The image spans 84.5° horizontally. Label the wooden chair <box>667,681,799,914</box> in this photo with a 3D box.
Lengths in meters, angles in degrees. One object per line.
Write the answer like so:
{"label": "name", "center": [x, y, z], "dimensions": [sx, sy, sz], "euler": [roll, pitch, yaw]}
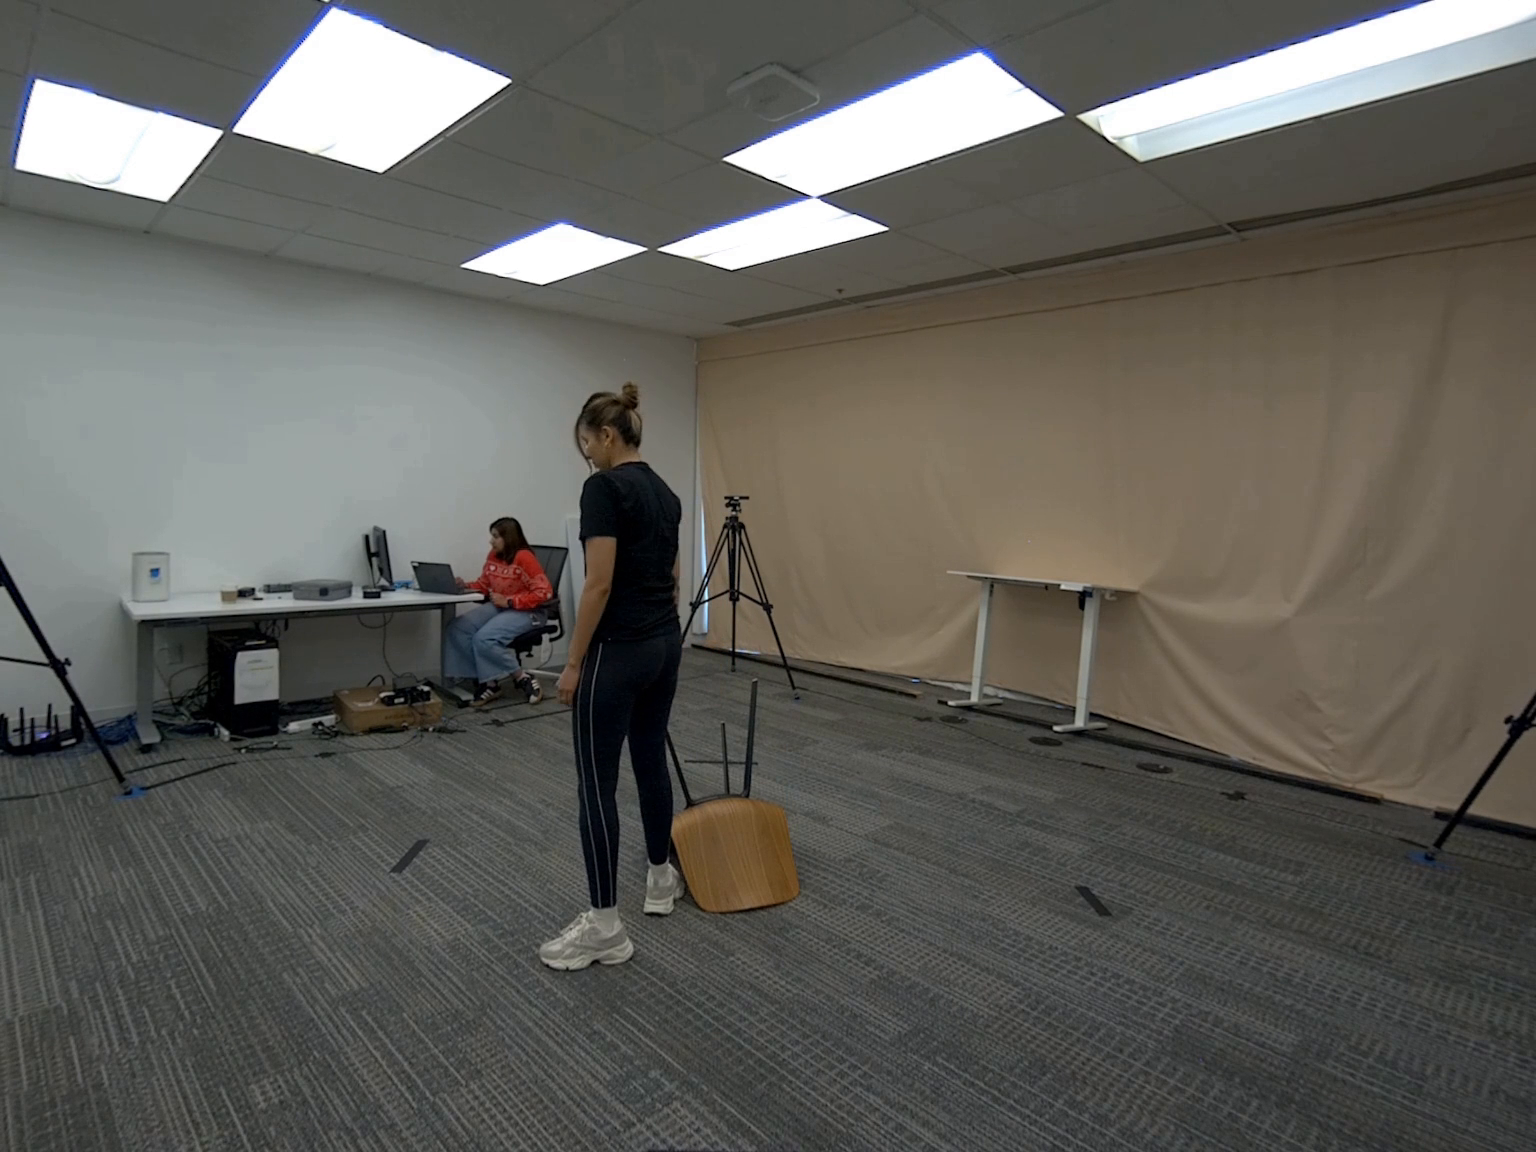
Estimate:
{"label": "wooden chair", "center": [-0.226, 0.916, 3.276], "dimensions": [0.470, 0.900, 0.518], "euler": [-1, -36, -24]}
